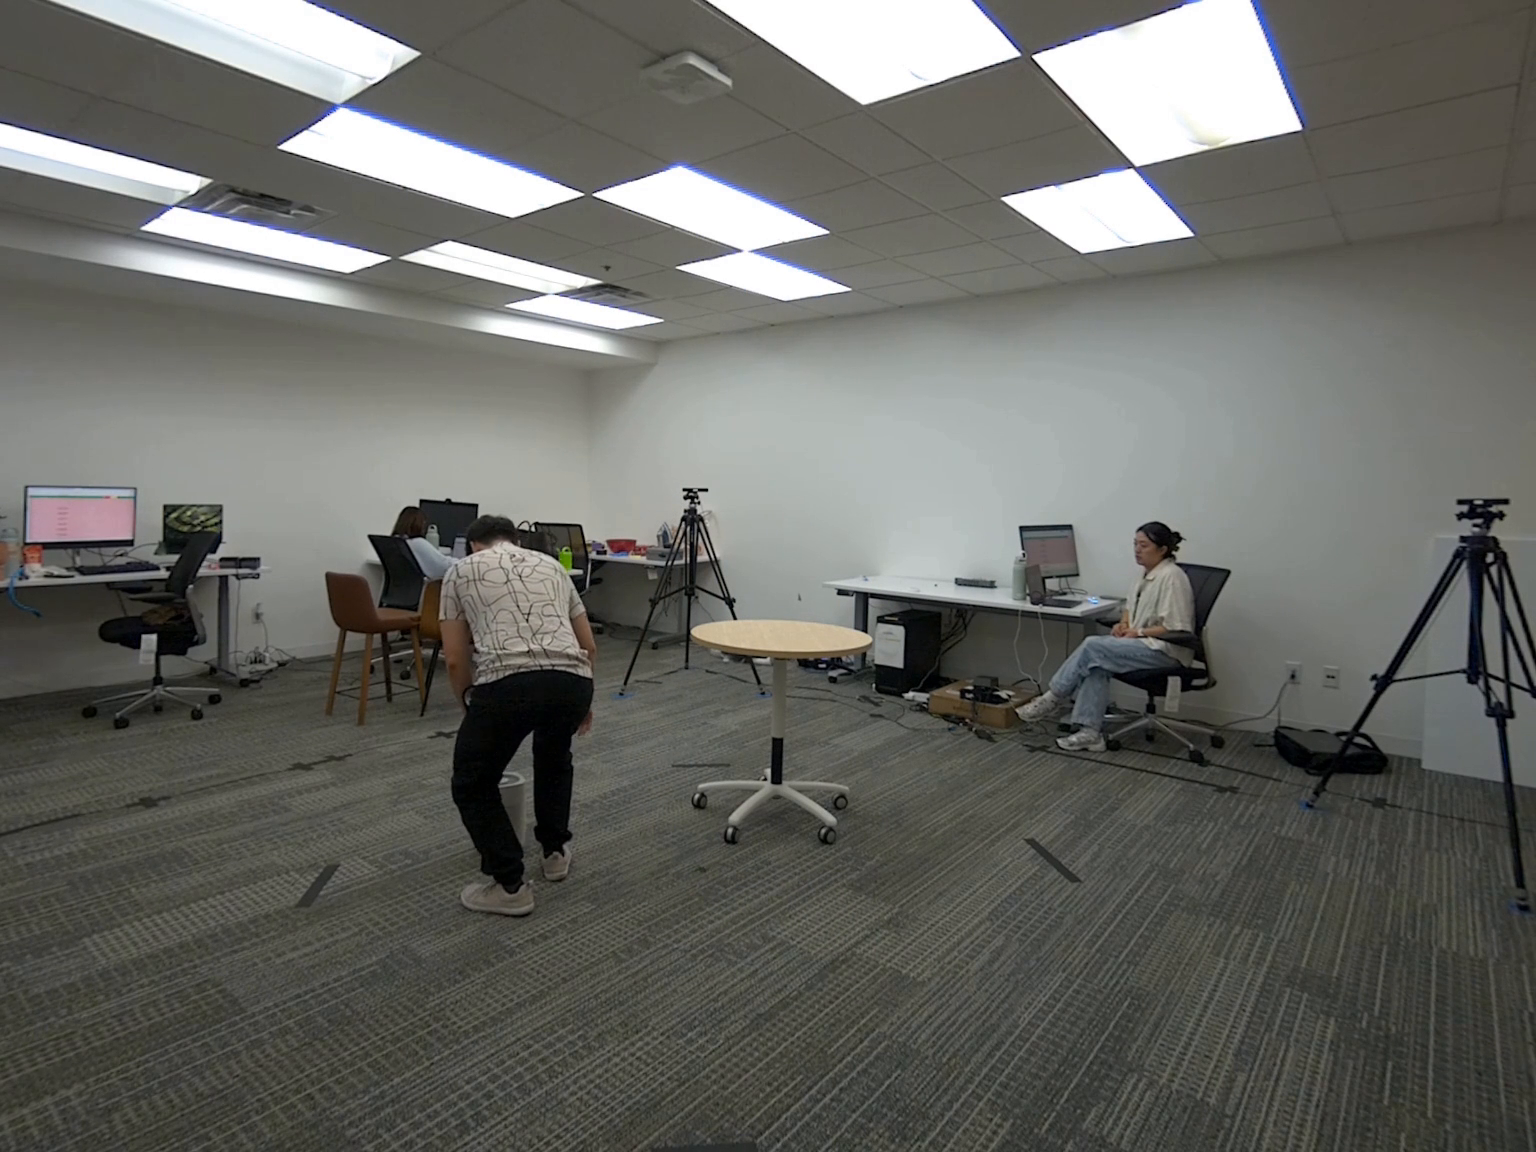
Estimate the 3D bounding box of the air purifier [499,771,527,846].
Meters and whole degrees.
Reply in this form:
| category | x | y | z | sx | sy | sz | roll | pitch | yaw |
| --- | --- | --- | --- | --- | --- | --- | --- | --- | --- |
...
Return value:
| category | x | y | z | sx | sy | sz | roll | pitch | yaw |
| --- | --- | --- | --- | --- | --- | --- | --- | --- | --- |
| air purifier | -1.032 | 0.904 | 3.255 | 0.166 | 0.265 | 0.176 | -1 | 3 | -35 |
